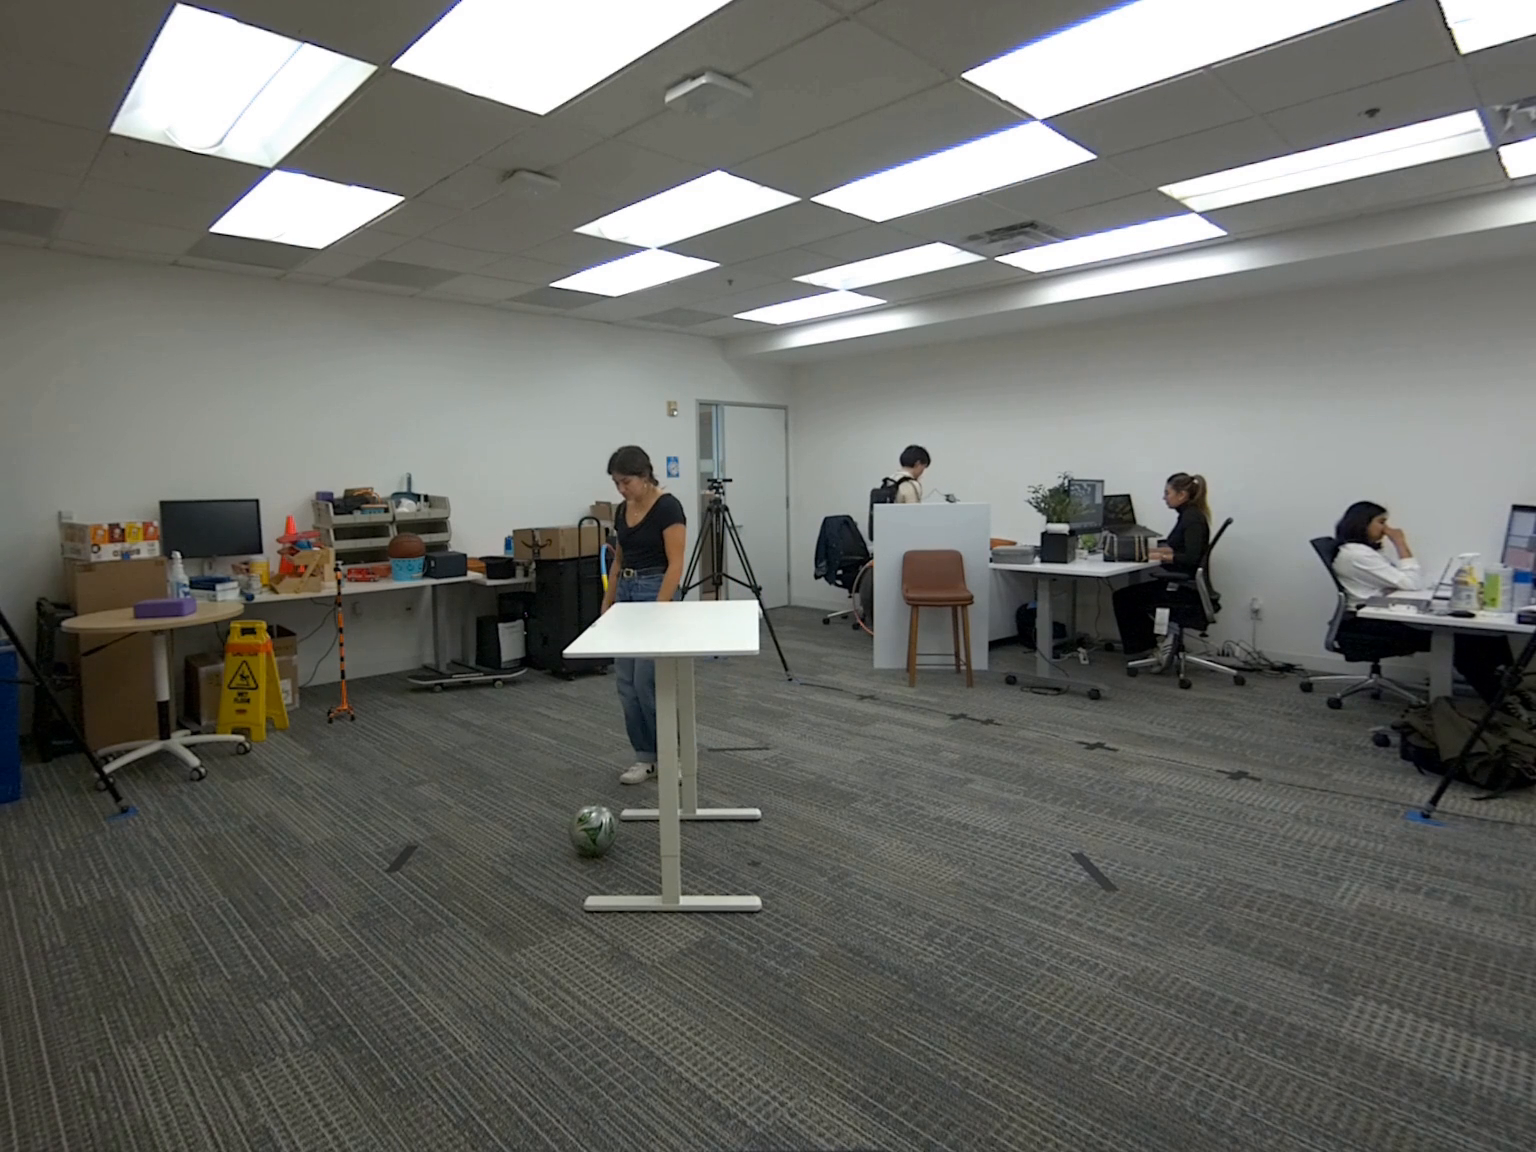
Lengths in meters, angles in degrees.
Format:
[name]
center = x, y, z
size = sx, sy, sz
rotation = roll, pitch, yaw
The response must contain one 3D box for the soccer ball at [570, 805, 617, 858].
[soccer ball]
center = -0.658, 0.960, 3.218
size = 0.187, 0.187, 0.188
rotation = -1, 5, -2
